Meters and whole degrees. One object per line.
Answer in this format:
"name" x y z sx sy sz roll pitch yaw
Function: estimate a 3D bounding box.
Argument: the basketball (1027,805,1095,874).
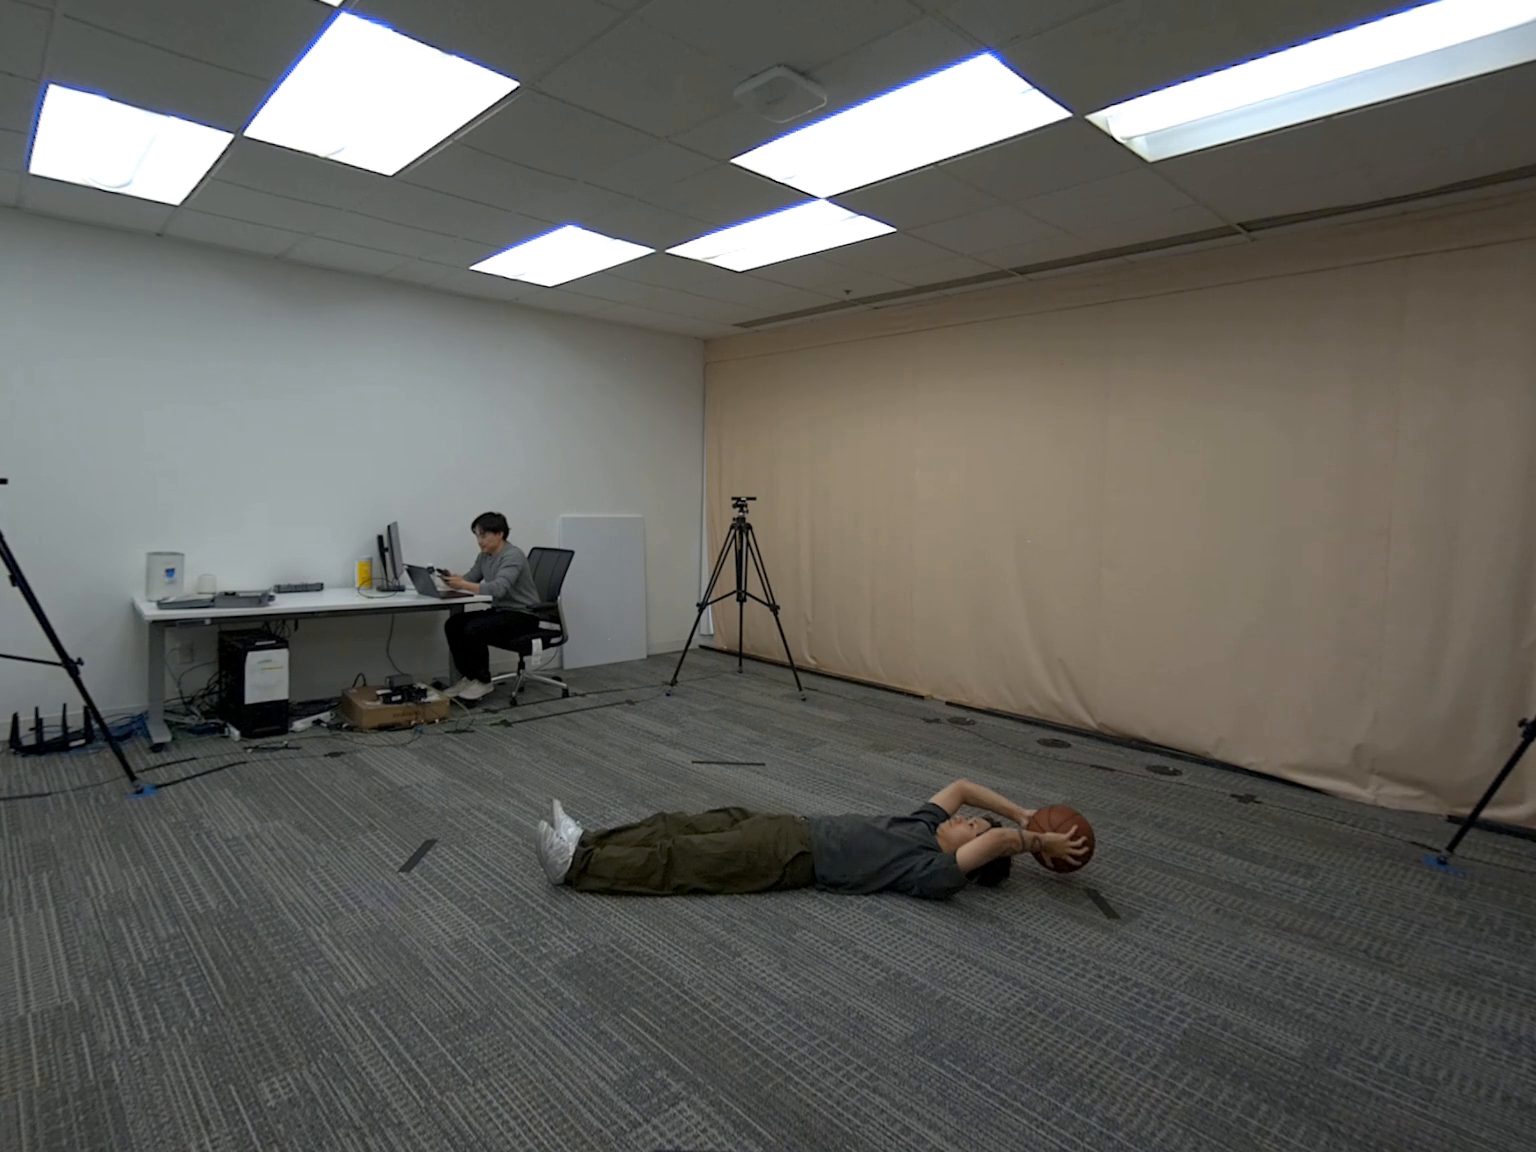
"basketball" 1.070 0.953 3.100 0.236 0.235 0.237 1 4 -1
